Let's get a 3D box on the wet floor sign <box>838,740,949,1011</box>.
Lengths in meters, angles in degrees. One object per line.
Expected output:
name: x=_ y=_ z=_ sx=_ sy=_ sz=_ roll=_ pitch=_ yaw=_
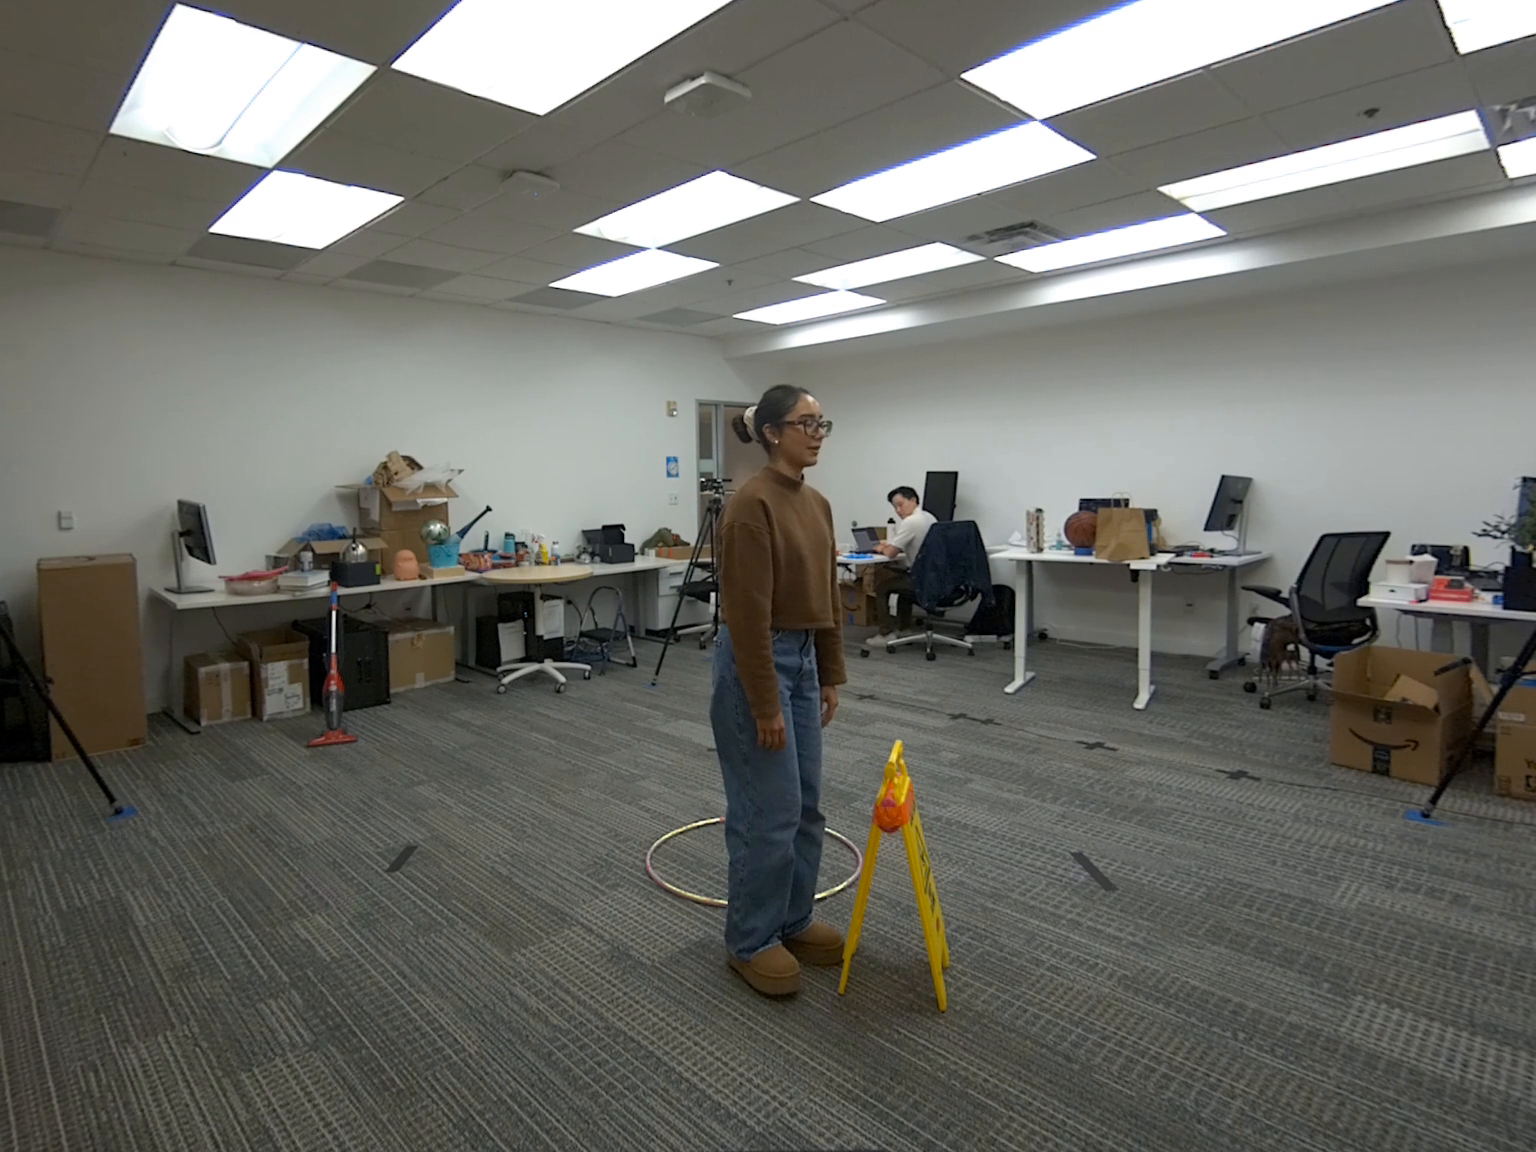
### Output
wet floor sign: x=0.356 y=0.792 z=2.370 sx=0.294 sy=0.643 sz=0.279 roll=1 pitch=6 yaw=16
